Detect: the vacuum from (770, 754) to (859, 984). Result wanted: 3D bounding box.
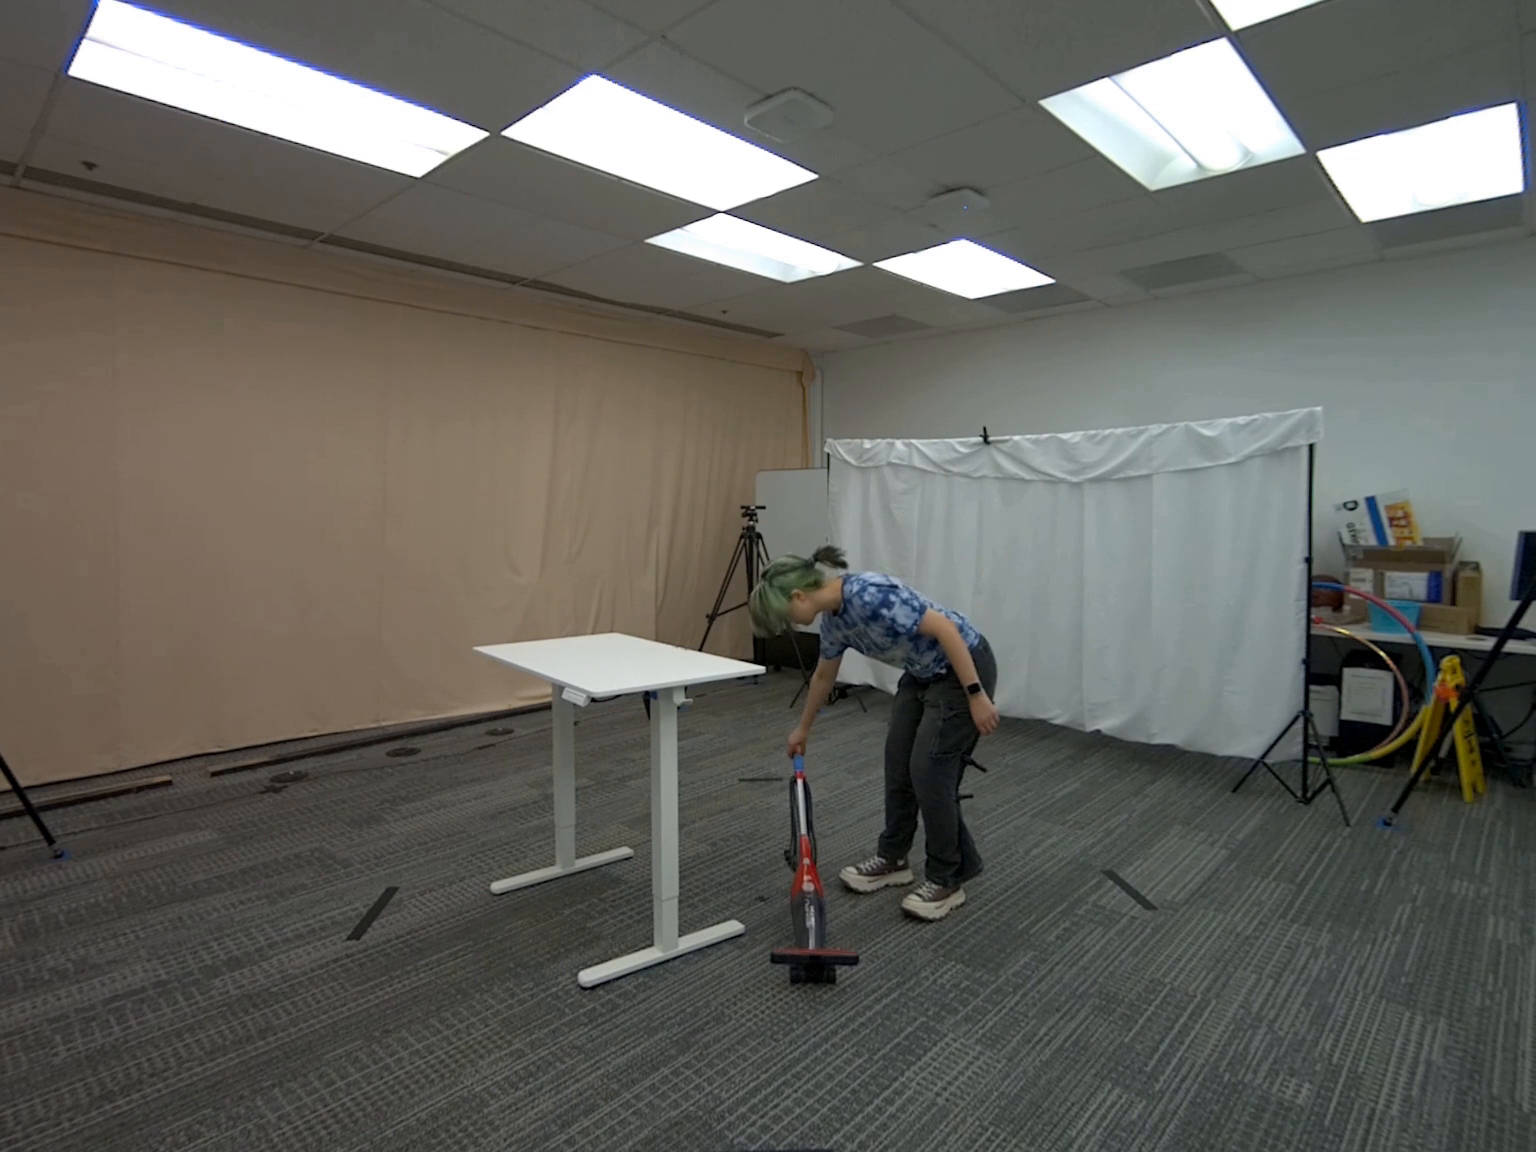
[{"bbox_3d":[0.134,0.933,2.897,0.253,0.142,1.060,1,22,1],"label":"vacuum"}]
